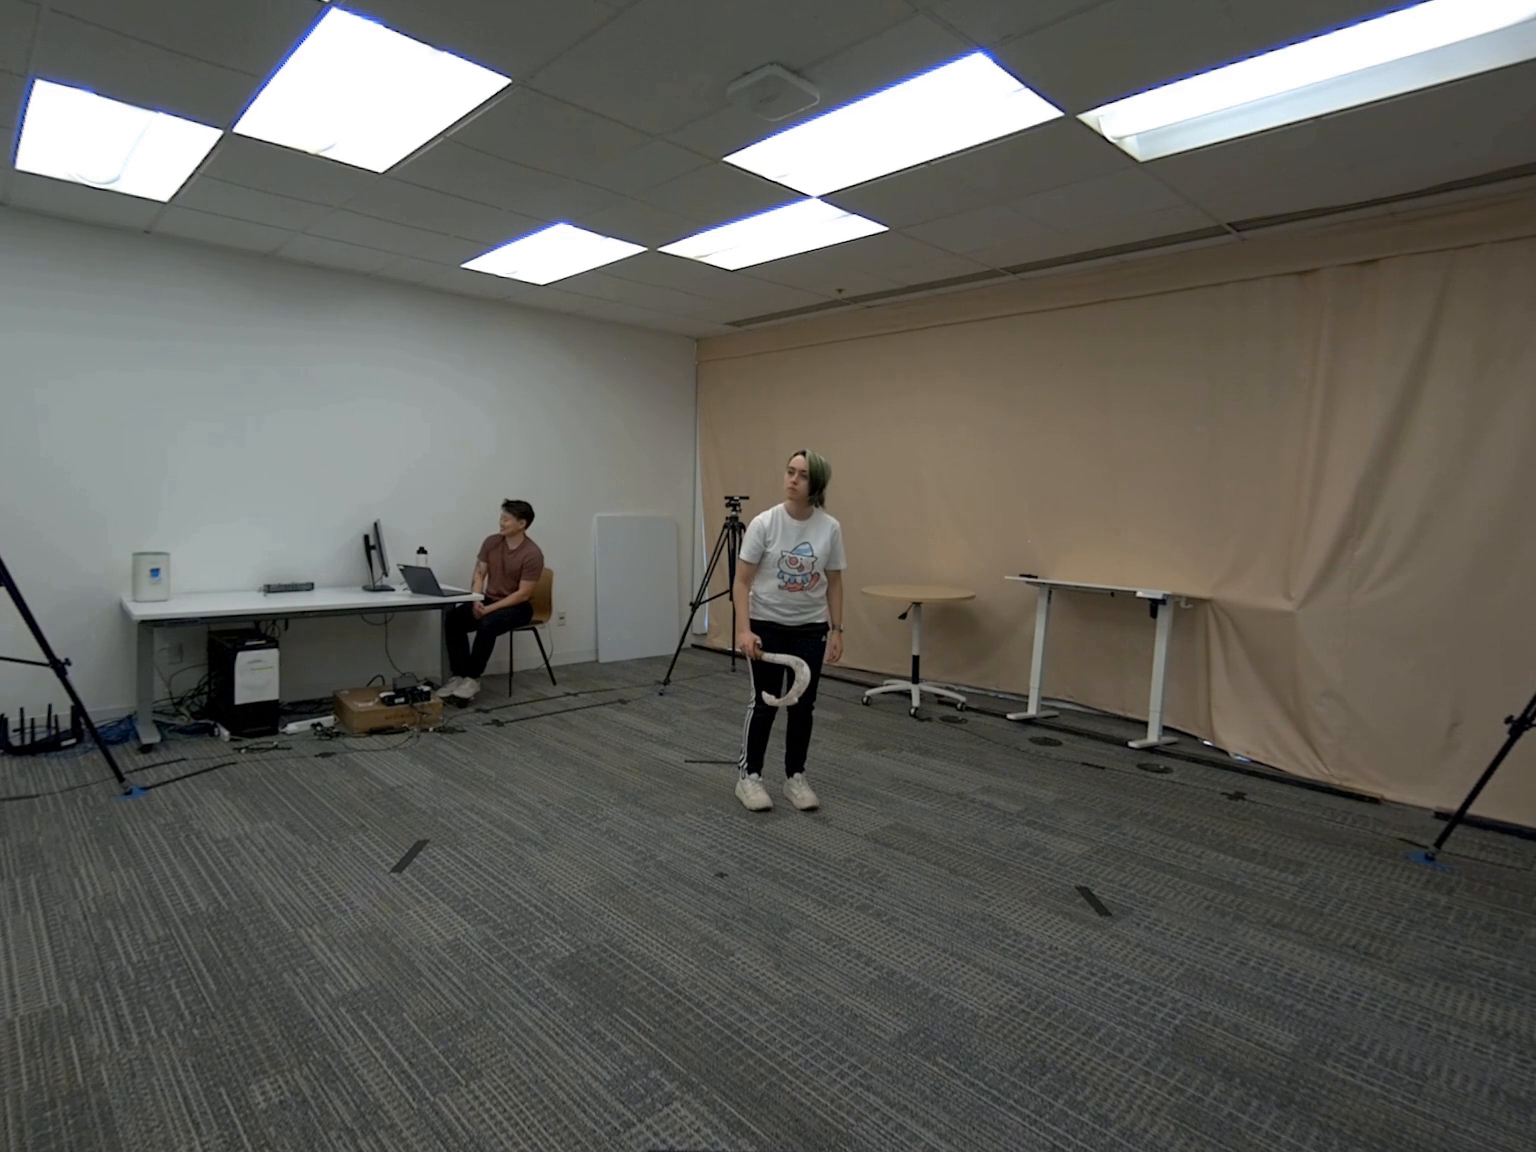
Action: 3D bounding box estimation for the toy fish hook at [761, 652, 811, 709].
[{"bbox_3d":[-0.019,0.400,3.525,0.047,0.225,0.521,44,-12,-33],"label":"toy fish hook"}]
